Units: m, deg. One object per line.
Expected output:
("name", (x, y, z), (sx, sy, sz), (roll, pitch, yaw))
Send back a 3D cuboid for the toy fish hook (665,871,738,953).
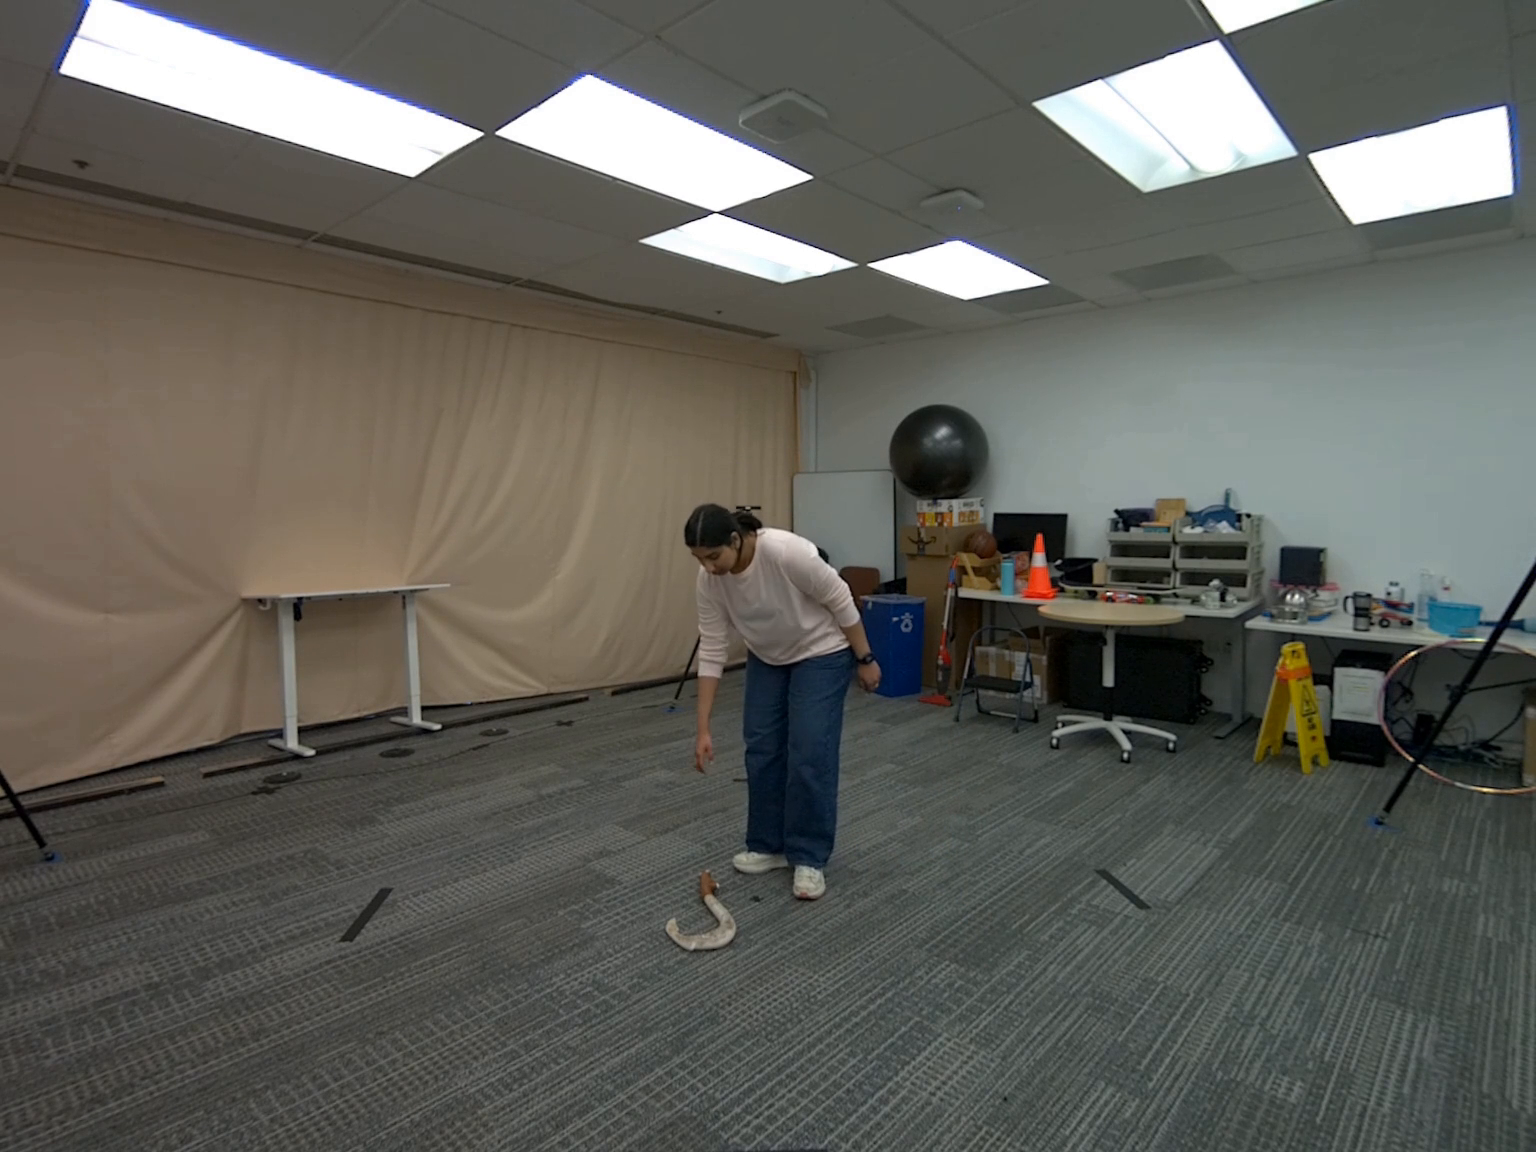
("toy fish hook", (-0.238, 1.128, 2.875), (0.222, 0.048, 0.512), (0, 4, -10))
